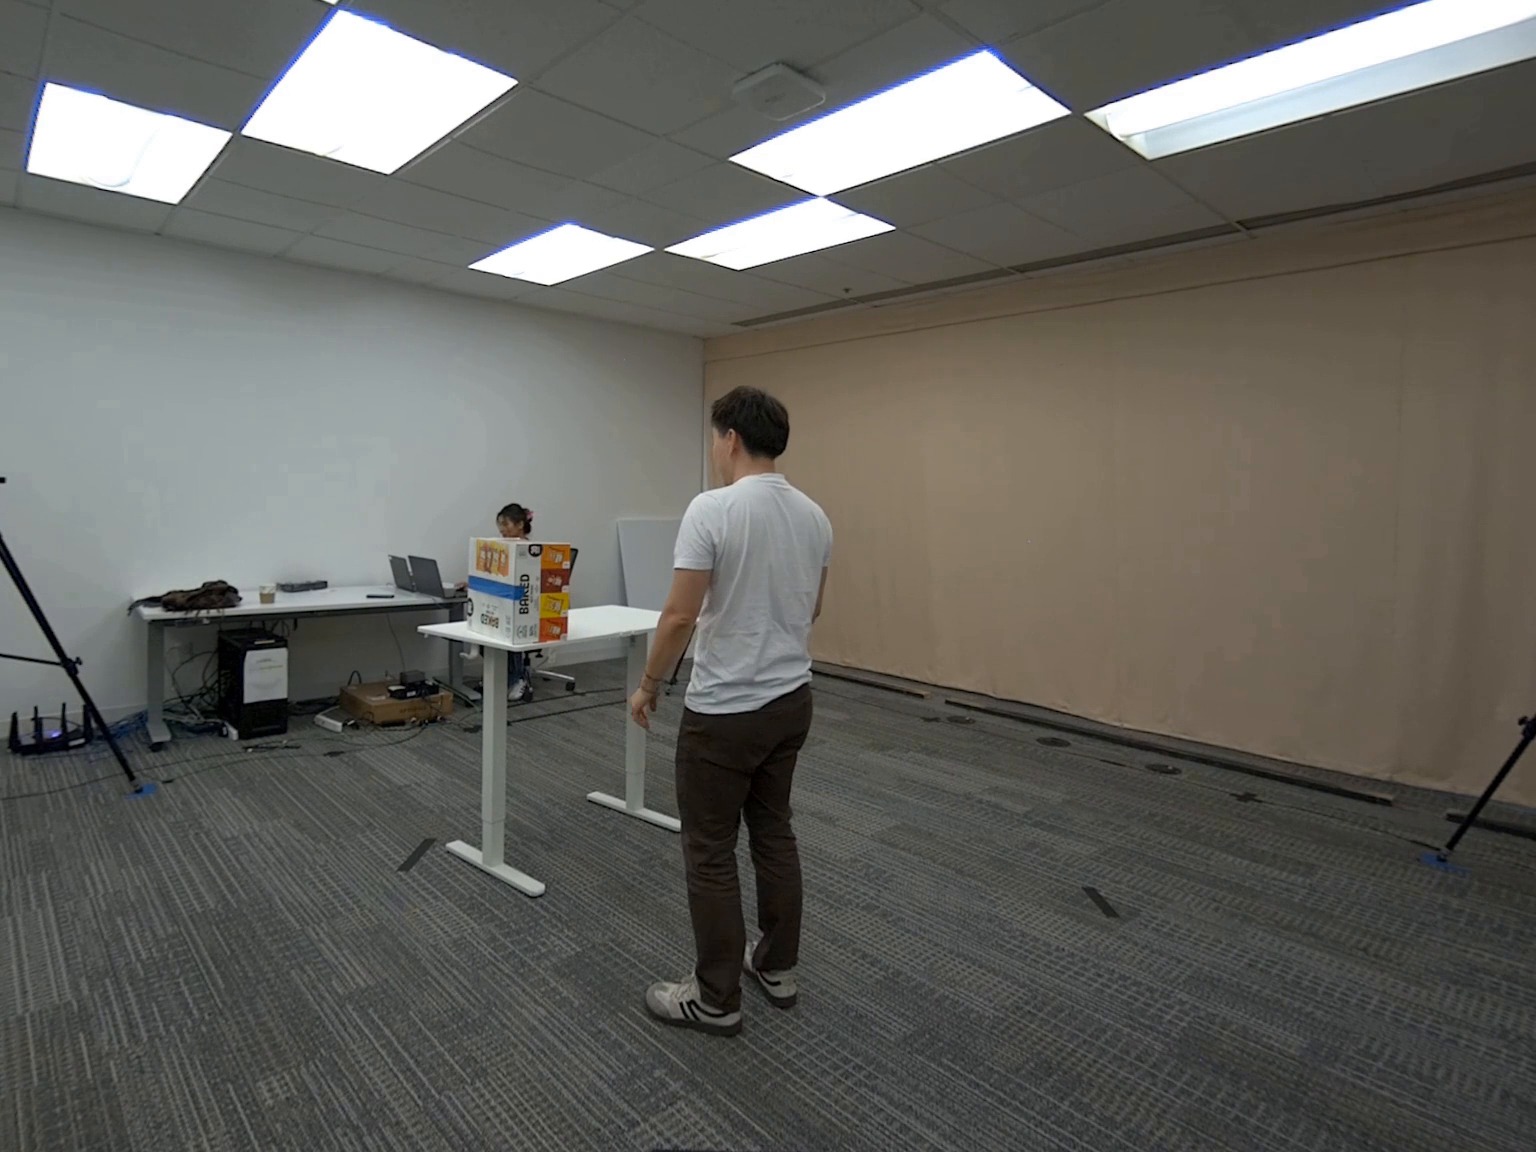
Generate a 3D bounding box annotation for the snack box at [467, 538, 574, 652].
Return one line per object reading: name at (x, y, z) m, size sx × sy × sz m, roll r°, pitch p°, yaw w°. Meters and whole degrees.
snack box at (-0.903, 0.043, 3.010) m, size 0.201 × 0.339 × 0.415 m, roll 0°, pitch 4°, yaw -40°
